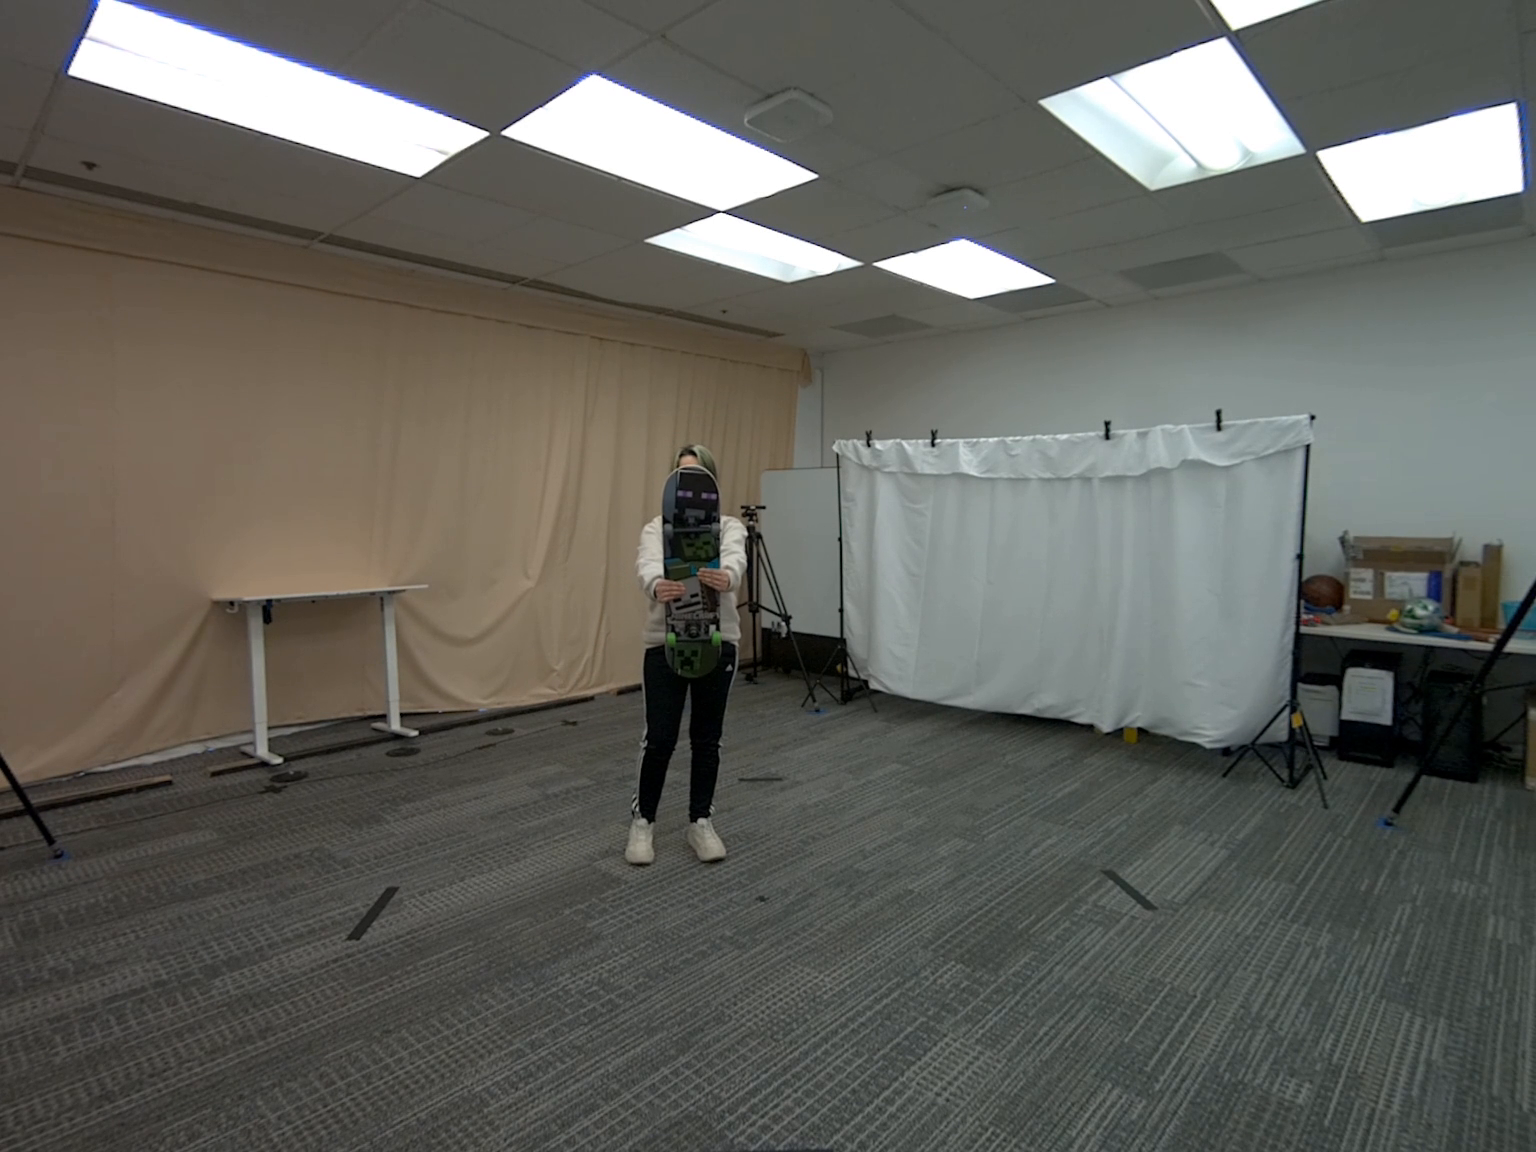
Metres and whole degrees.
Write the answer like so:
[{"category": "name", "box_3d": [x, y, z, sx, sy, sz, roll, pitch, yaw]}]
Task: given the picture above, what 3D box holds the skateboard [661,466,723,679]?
[{"category": "skateboard", "box_3d": [-0.247, 0.024, 2.828, 0.193, 0.776, 0.112, 0, 22, -4]}]
